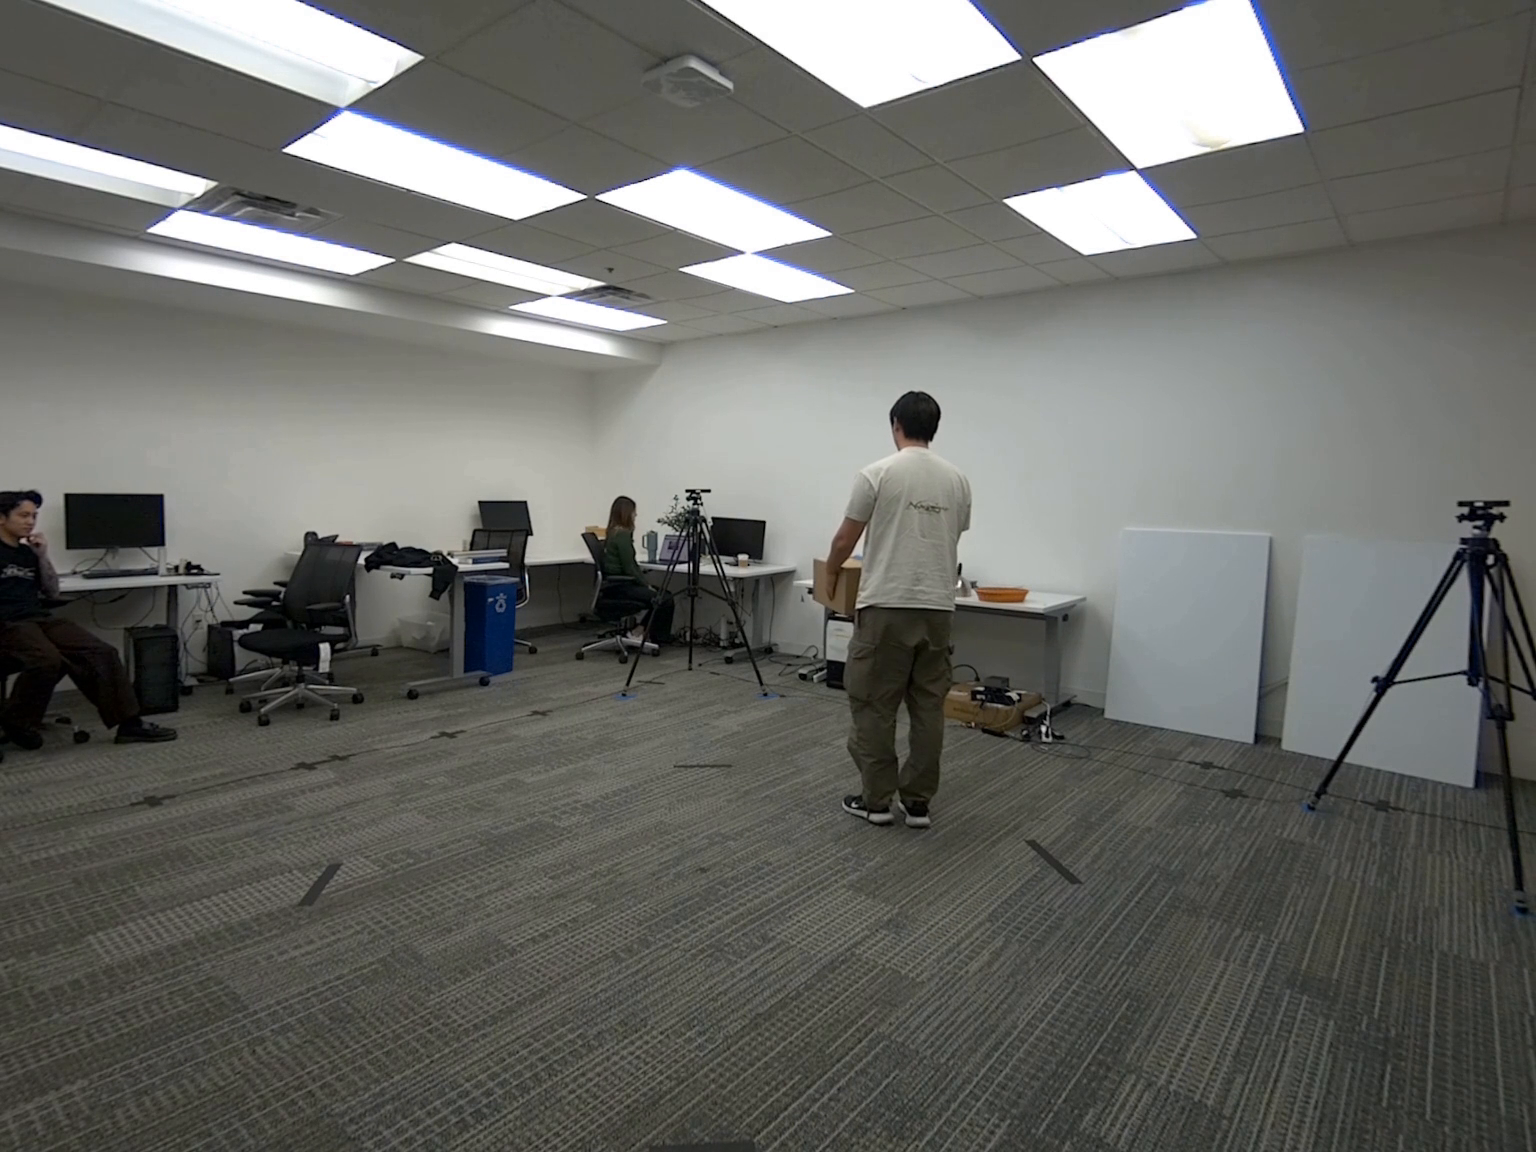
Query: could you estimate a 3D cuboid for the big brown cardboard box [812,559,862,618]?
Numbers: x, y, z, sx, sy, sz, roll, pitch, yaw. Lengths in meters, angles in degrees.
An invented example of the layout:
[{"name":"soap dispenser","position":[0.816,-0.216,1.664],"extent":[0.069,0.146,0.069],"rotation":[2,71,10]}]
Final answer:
[{"name":"big brown cardboard box","position":[0.474,0.038,4.056],"extent":[0.413,0.232,0.599],"rotation":[0,7,-11]}]
